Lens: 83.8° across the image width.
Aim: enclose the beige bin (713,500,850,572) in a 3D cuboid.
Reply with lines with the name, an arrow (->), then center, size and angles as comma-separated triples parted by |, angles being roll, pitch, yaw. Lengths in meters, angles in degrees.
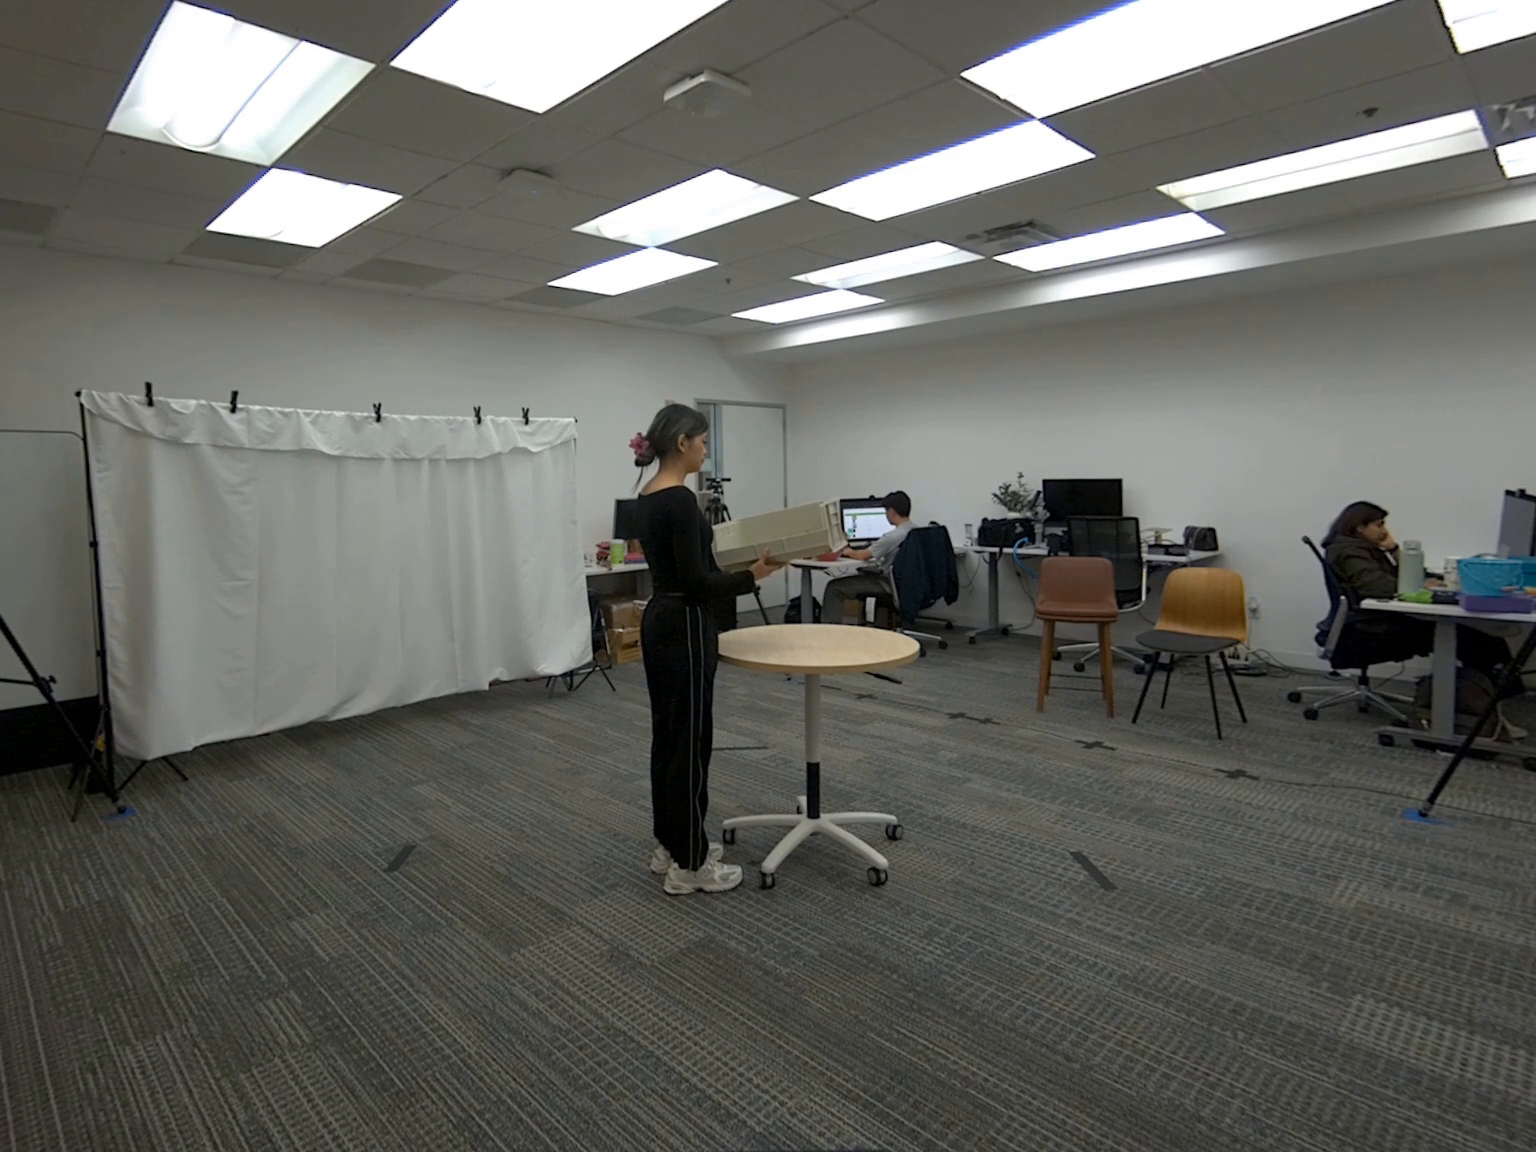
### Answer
beige bin -> 0.055, -0.141, 3.107 | 0.427, 0.189, 0.373 | -13, 3, 16
